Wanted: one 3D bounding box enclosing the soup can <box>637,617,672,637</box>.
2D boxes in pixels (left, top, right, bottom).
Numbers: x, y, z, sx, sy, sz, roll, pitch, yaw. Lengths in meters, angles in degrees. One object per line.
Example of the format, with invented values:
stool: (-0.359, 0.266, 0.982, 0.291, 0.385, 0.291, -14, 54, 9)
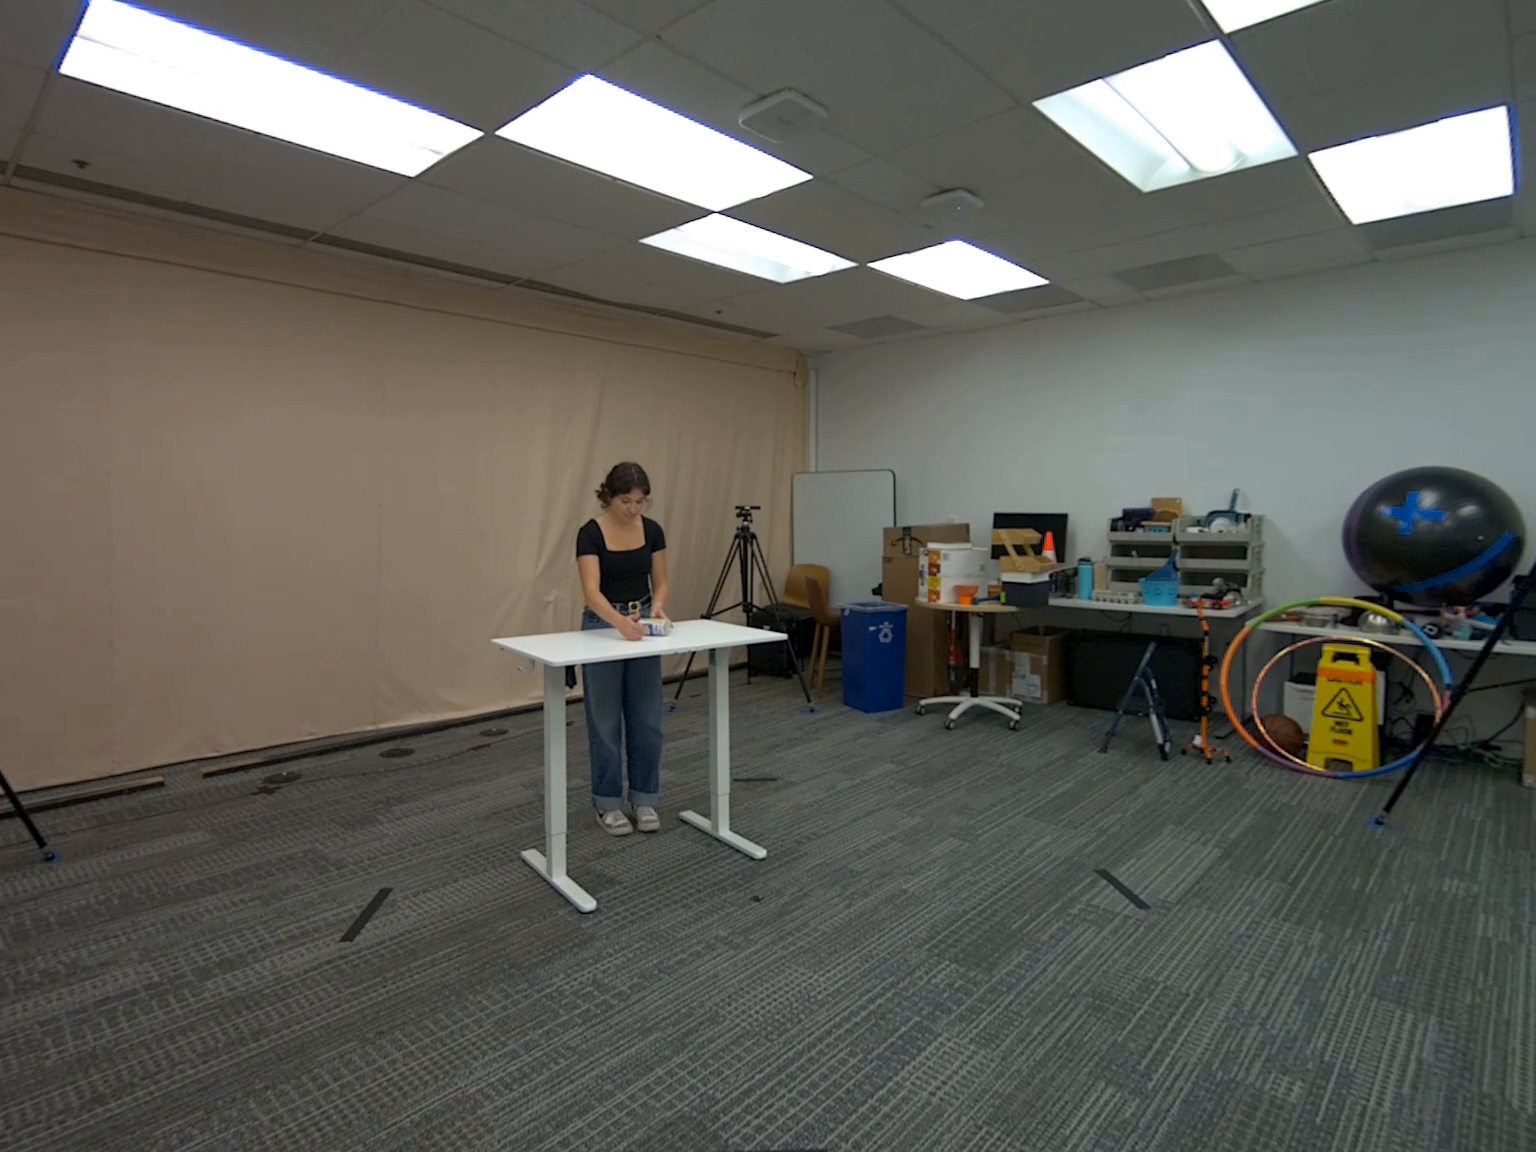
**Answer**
soup can: (-0.468, 0.205, 3.351, 0.119, 0.067, 0.068, -1, 4, -18)
